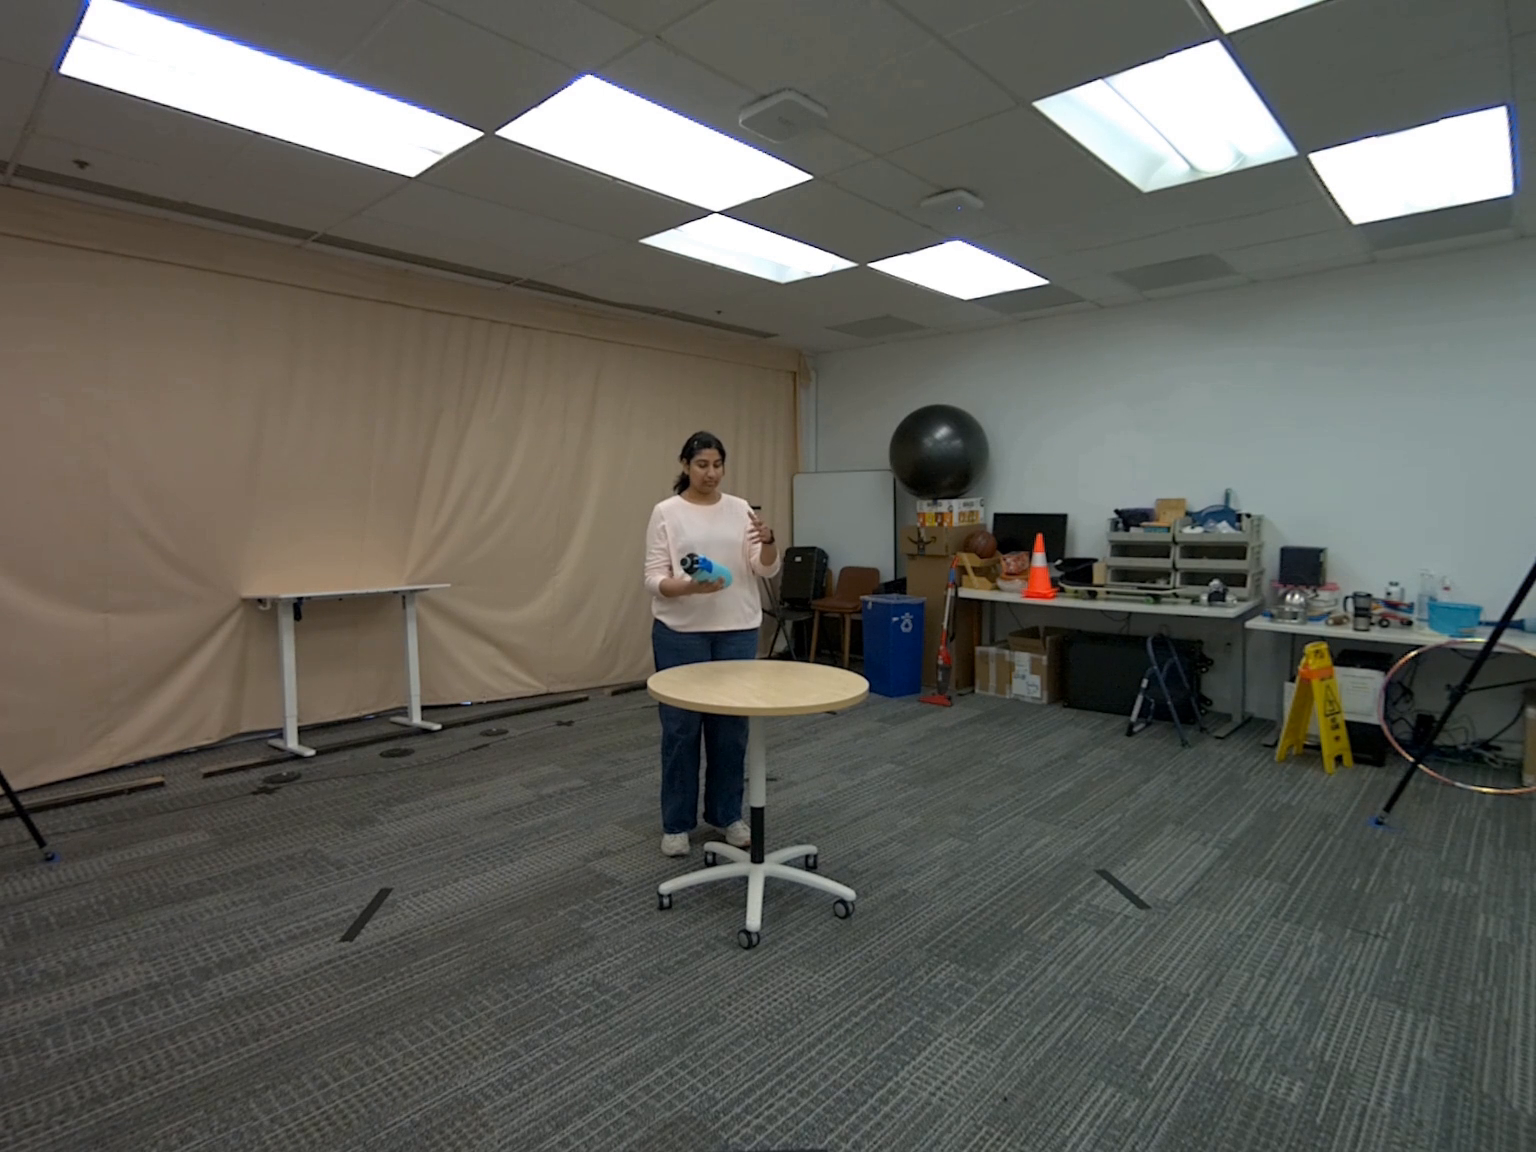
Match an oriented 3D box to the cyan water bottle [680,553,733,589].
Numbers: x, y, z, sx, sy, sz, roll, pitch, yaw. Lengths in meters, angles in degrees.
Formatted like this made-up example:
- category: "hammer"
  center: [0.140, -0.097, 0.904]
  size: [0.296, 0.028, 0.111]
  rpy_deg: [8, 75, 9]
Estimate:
- category: "cyan water bottle"
  center: [-0.228, -0.030, 3.091]
  size: [0.094, 0.093, 0.275]
  rpy_deg: [2, -13, 22]
